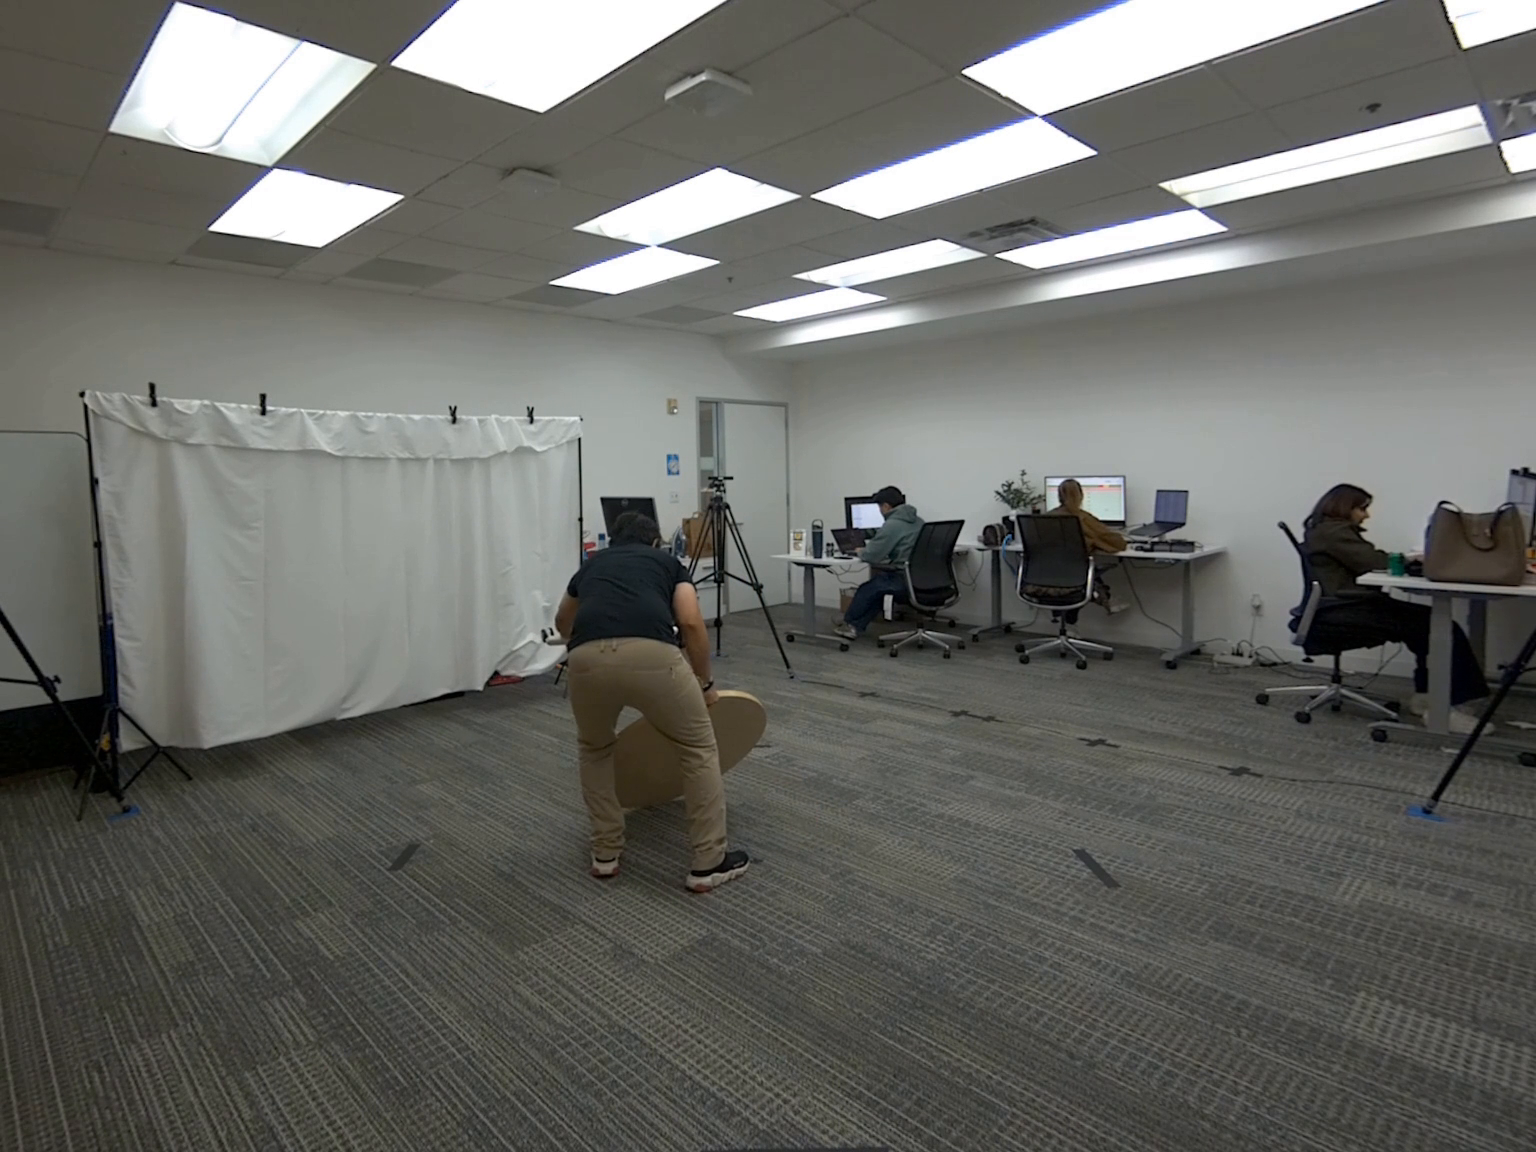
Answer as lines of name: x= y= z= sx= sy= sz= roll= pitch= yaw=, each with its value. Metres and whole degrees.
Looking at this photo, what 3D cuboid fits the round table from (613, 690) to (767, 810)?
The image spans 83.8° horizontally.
round table: x=-0.518 y=0.437 z=3.688 sx=0.766 sy=0.776 sz=0.815 roll=-4 pitch=47 yaw=-33
